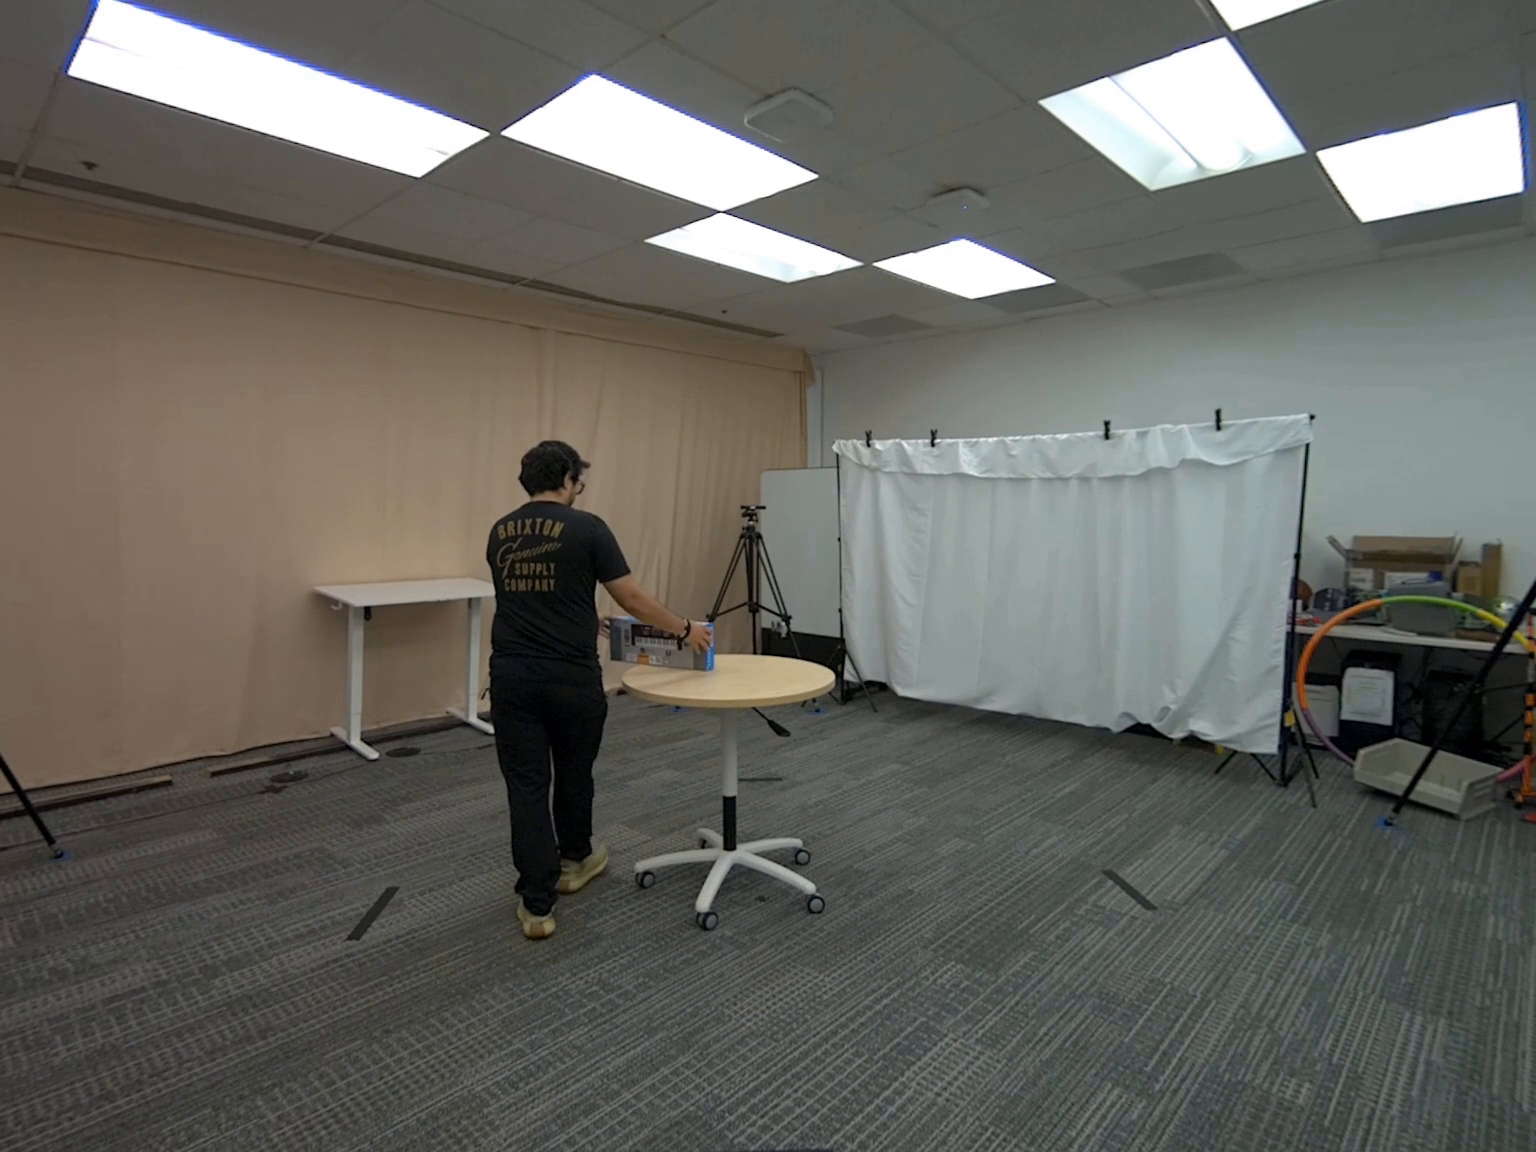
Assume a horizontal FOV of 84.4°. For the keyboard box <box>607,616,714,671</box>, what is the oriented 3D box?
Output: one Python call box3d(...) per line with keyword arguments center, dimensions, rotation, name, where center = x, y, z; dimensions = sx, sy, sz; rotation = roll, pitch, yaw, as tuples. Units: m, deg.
box3d(center=(-0.409, 0.257, 3.214), dimensions=(0.449, 0.175, 0.058), rotation=(3, 7, 27), name="keyboard box")
